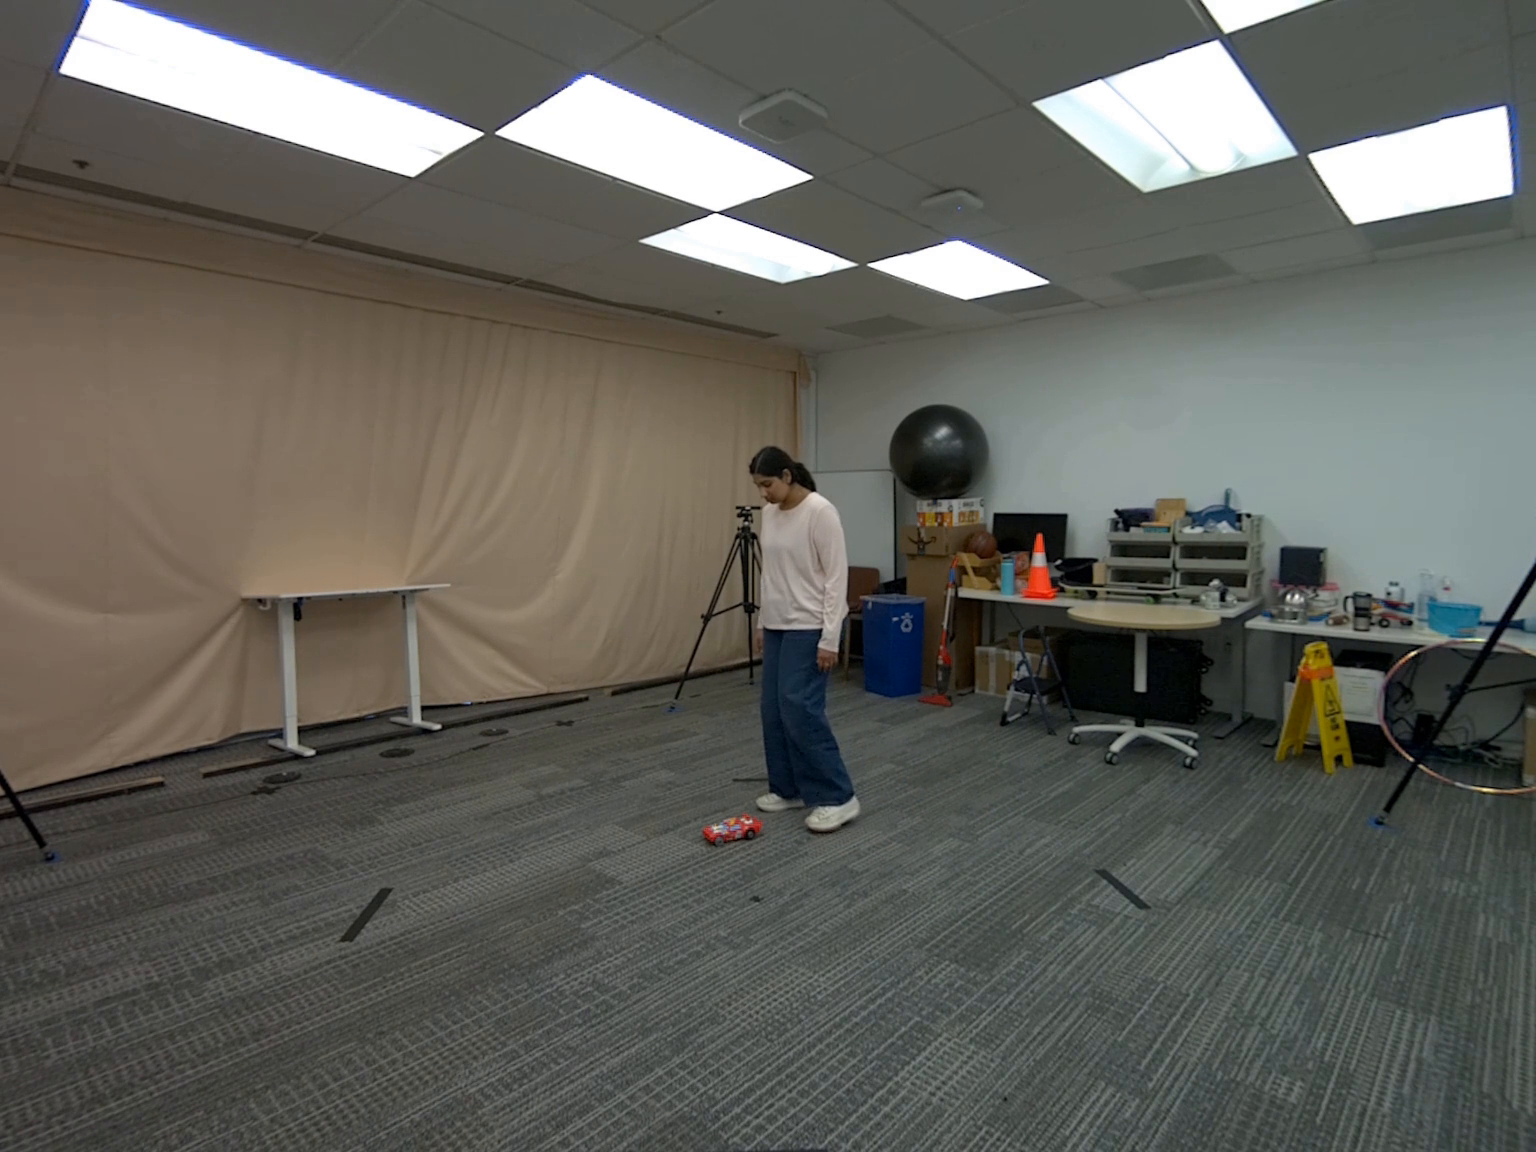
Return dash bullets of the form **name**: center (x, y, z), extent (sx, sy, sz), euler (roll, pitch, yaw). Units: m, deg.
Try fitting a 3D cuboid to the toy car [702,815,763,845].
- **toy car**: center (-0.143, 1.067, 3.534), extent (0.249, 0.083, 0.134), euler (-15, 9, -25)
